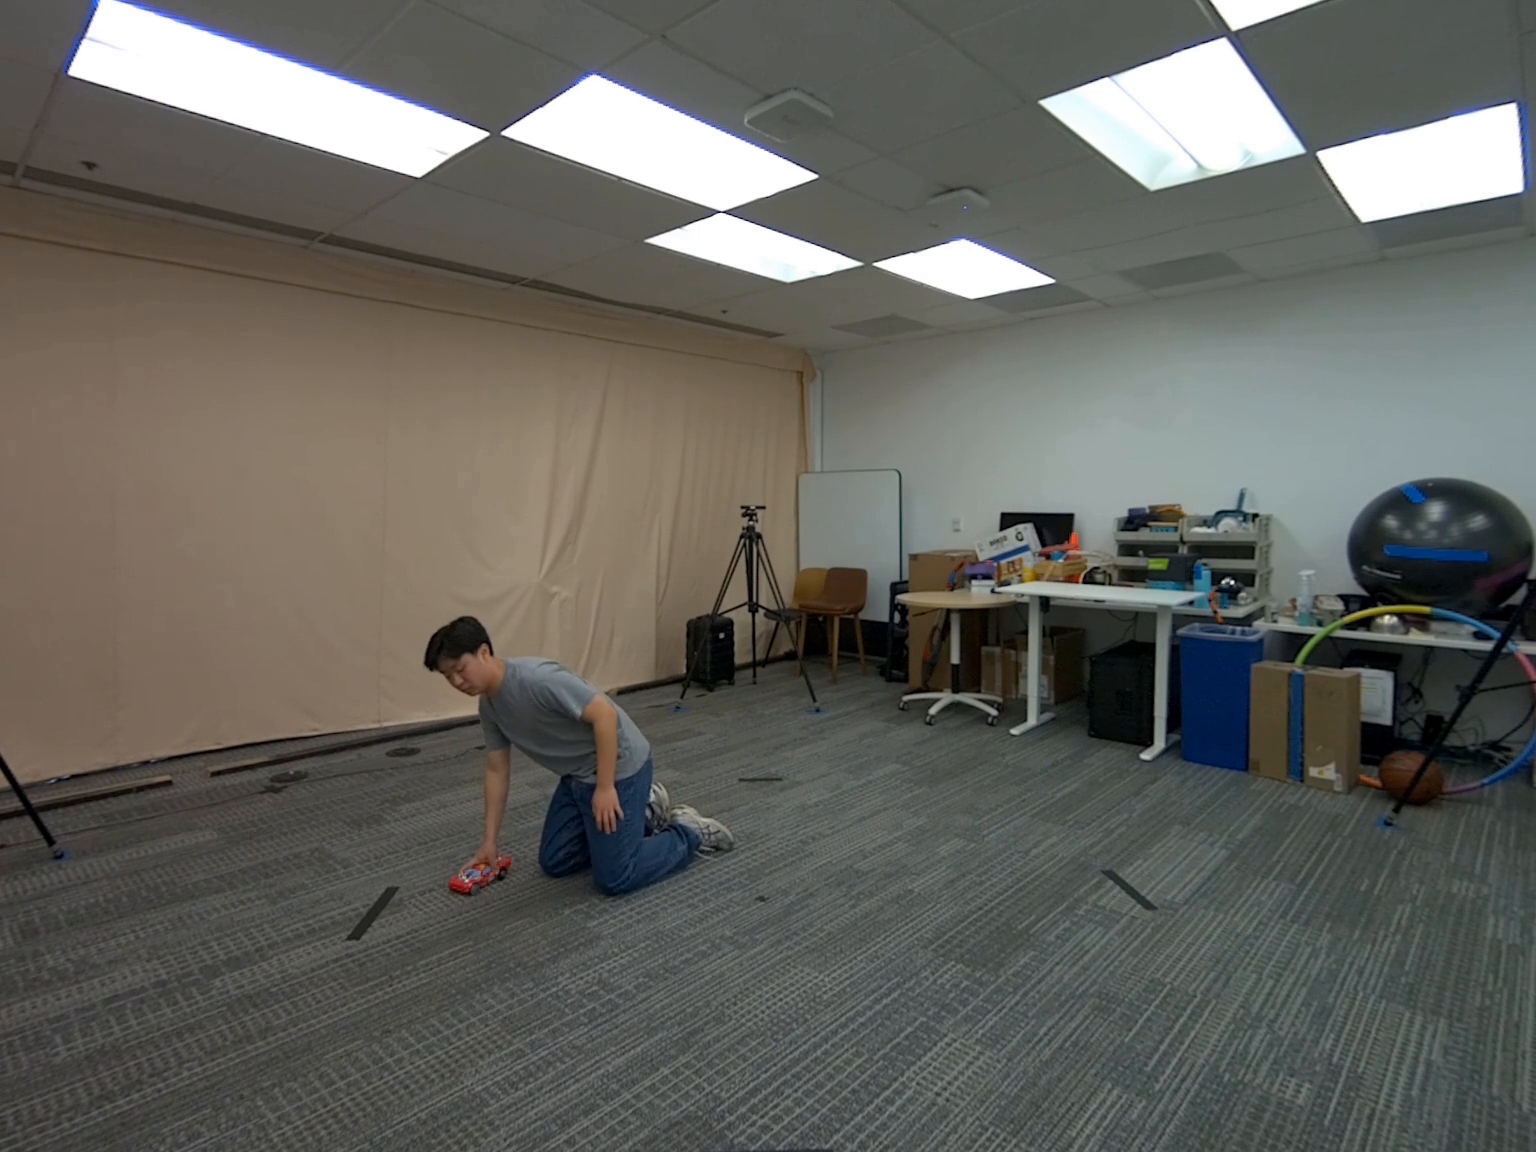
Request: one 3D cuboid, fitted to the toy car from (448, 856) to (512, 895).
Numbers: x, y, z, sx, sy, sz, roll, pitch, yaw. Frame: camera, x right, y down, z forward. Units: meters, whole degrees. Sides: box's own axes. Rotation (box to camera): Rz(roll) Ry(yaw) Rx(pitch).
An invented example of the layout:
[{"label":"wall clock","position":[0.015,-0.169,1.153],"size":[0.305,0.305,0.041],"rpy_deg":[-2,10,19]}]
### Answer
[{"label":"toy car","position":[-1.068,1.118,3.139],"size":[0.134,0.082,0.250],"rpy_deg":[0,15,25]}]
